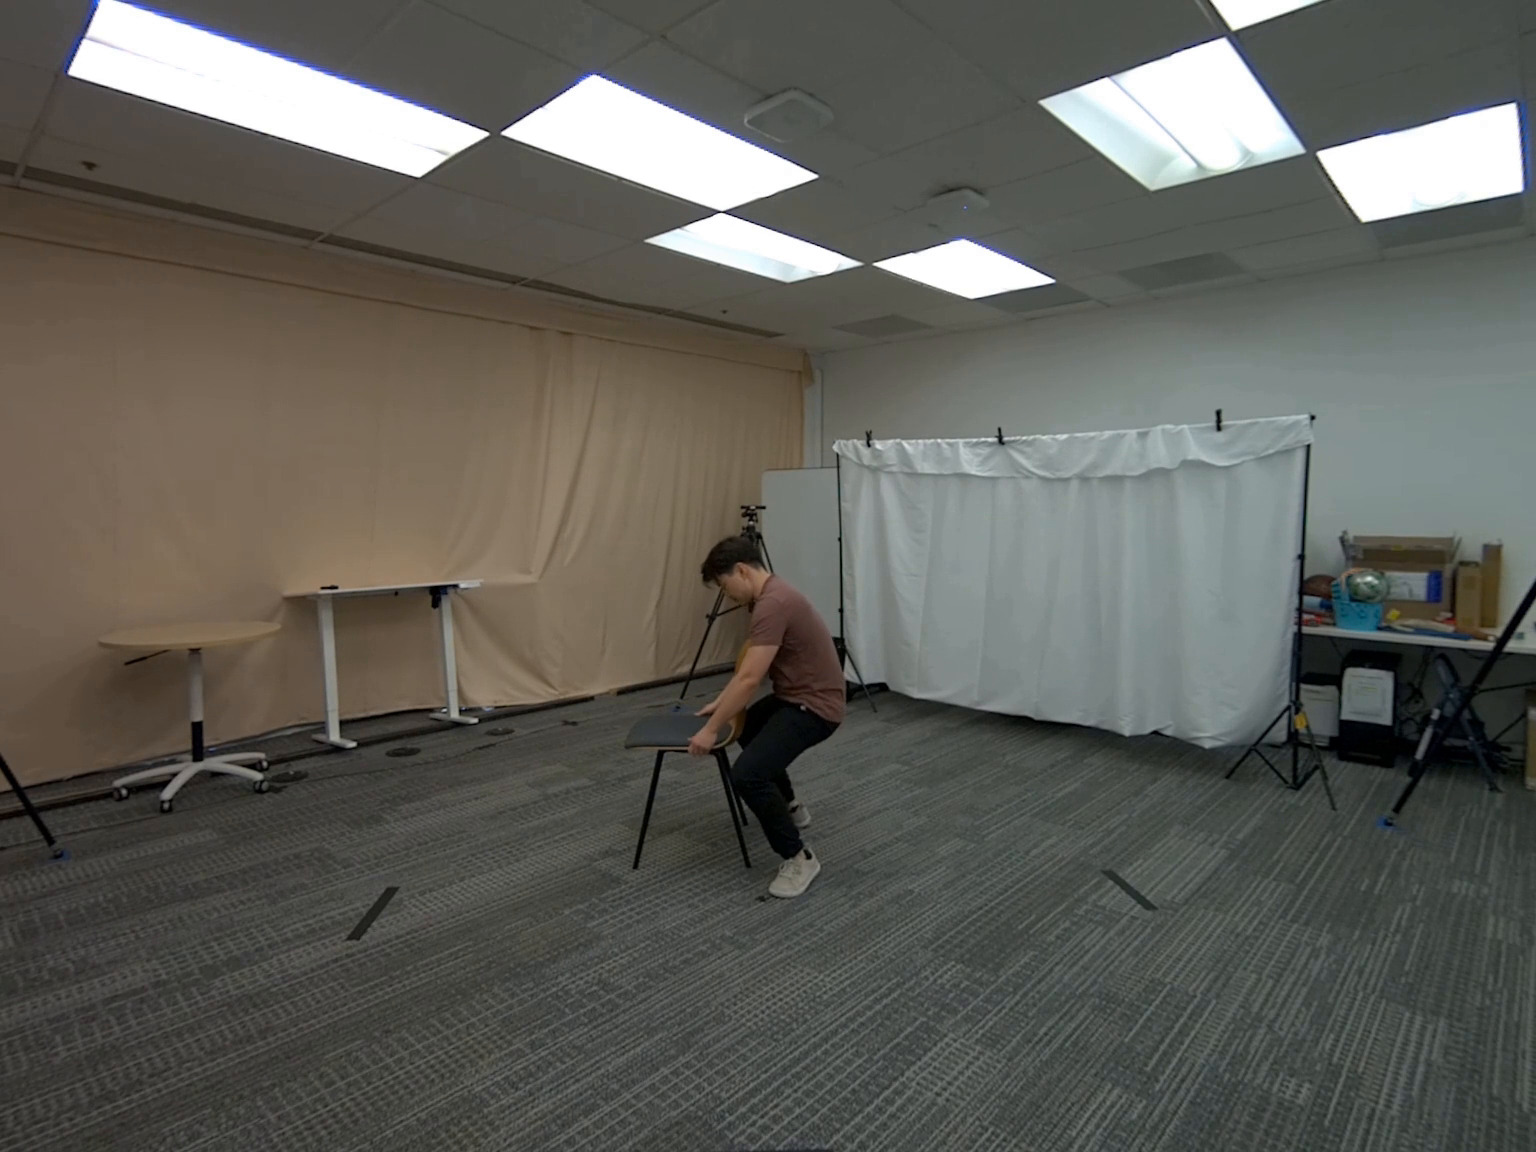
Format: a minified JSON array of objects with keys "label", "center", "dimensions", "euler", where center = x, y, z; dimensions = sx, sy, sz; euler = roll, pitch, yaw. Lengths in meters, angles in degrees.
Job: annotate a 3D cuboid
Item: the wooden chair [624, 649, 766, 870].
[{"label":"wooden chair","center":[-0.321,0.683,3.420],"dimensions":[0.524,0.875,0.479],"euler":[3,4,0]}]
